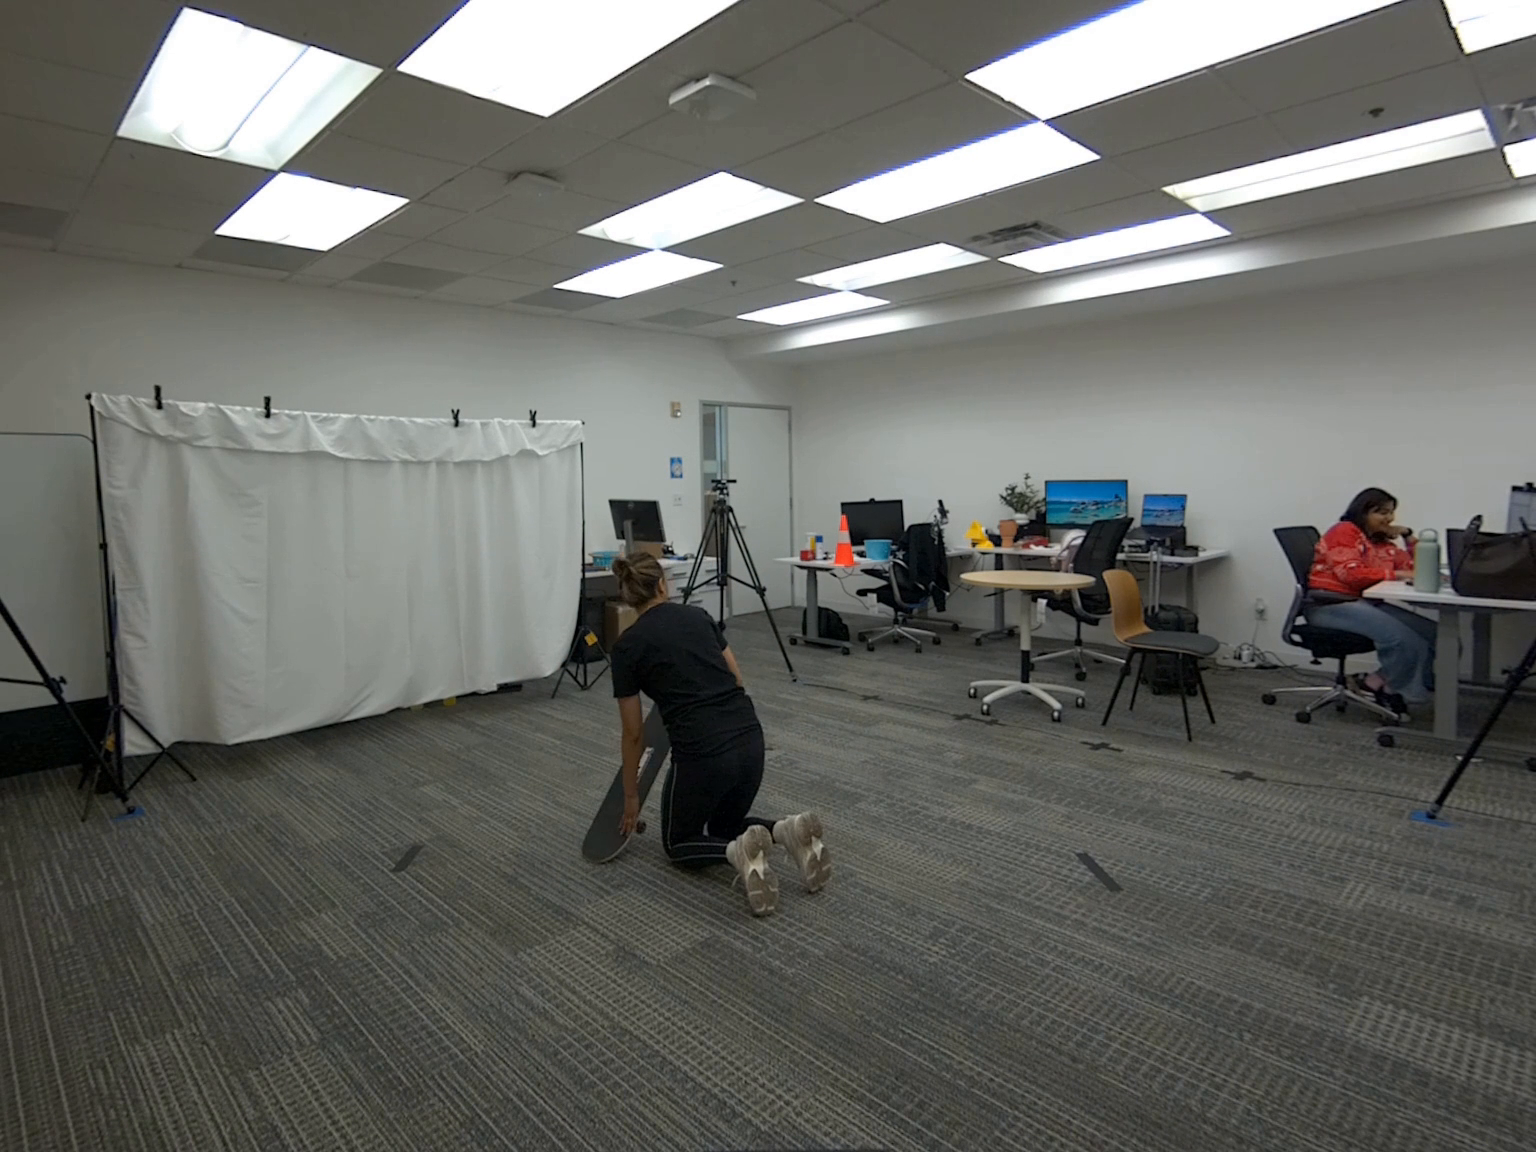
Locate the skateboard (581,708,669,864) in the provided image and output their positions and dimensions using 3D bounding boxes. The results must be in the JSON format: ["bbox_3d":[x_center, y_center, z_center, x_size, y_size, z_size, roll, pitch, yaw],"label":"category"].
[{"bbox_3d":[-0.492,0.787,3.398,0.198,0.106,0.794,-1,47,32],"label":"skateboard"}]
